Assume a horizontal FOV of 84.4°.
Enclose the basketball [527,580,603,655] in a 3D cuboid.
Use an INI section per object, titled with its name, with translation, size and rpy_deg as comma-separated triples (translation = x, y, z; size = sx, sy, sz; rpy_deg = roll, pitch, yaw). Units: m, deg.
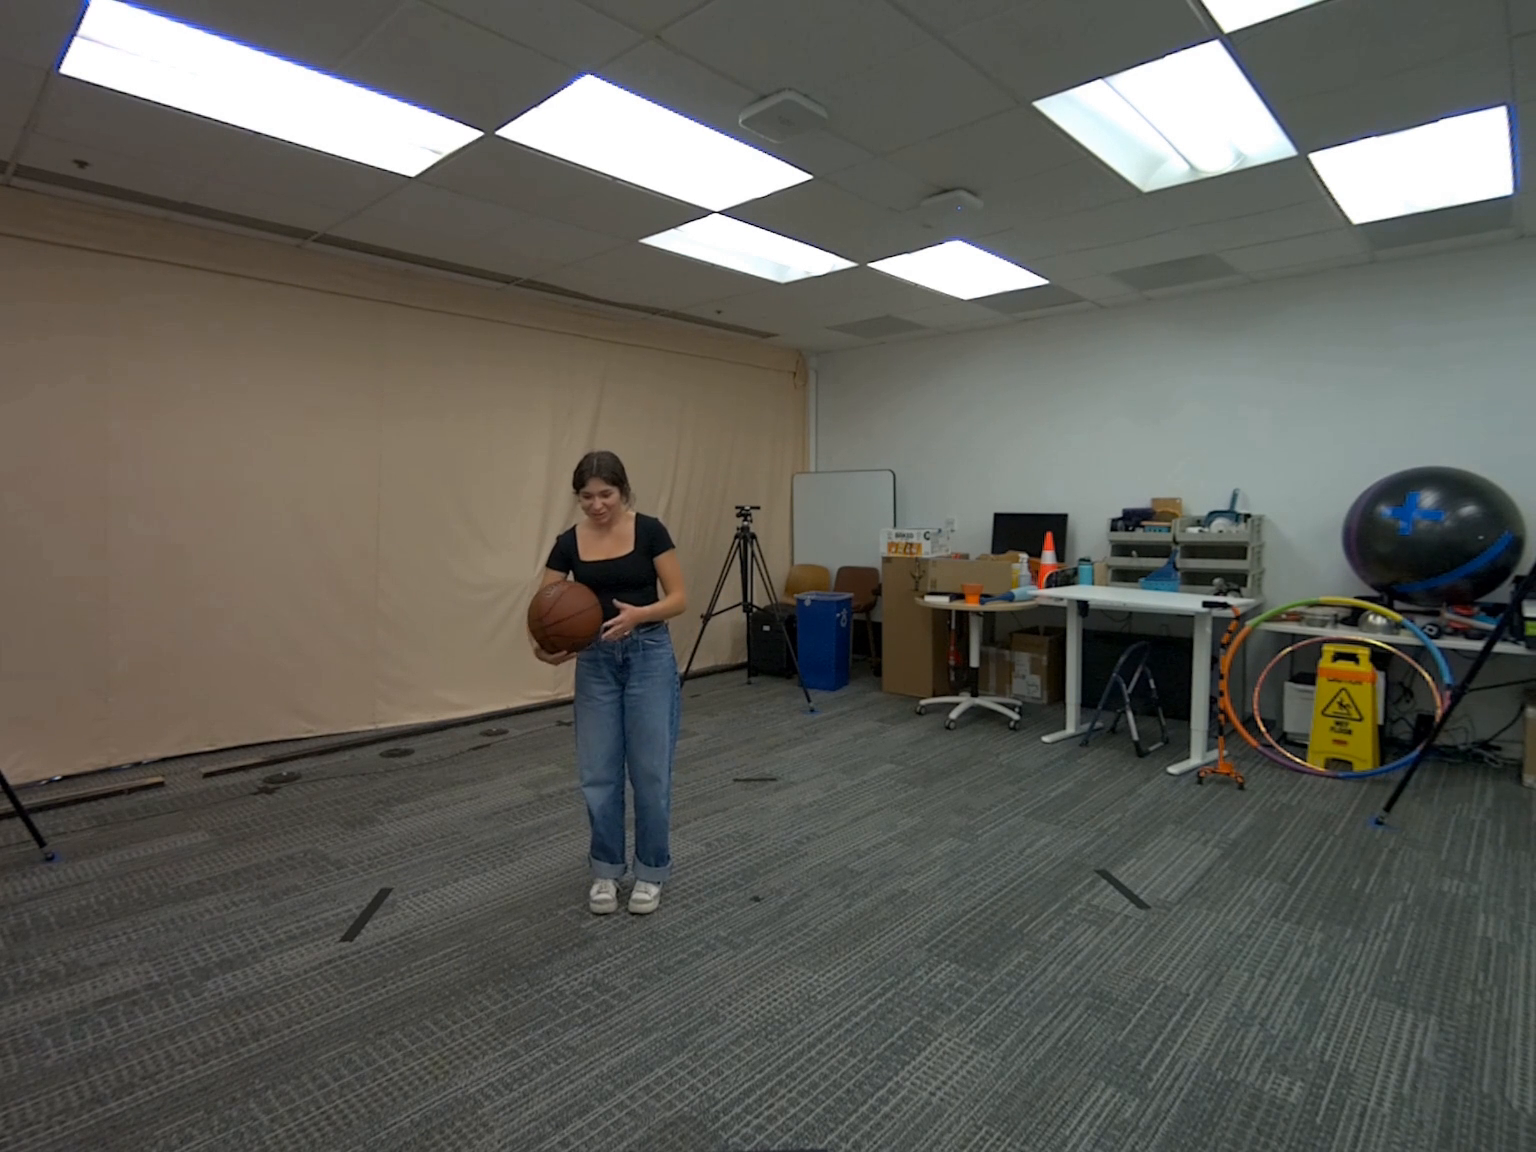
[basketball]
translation = -0.645, 0.133, 2.713
size = 0.236, 0.235, 0.237
rpy_deg = 0, 4, -2
